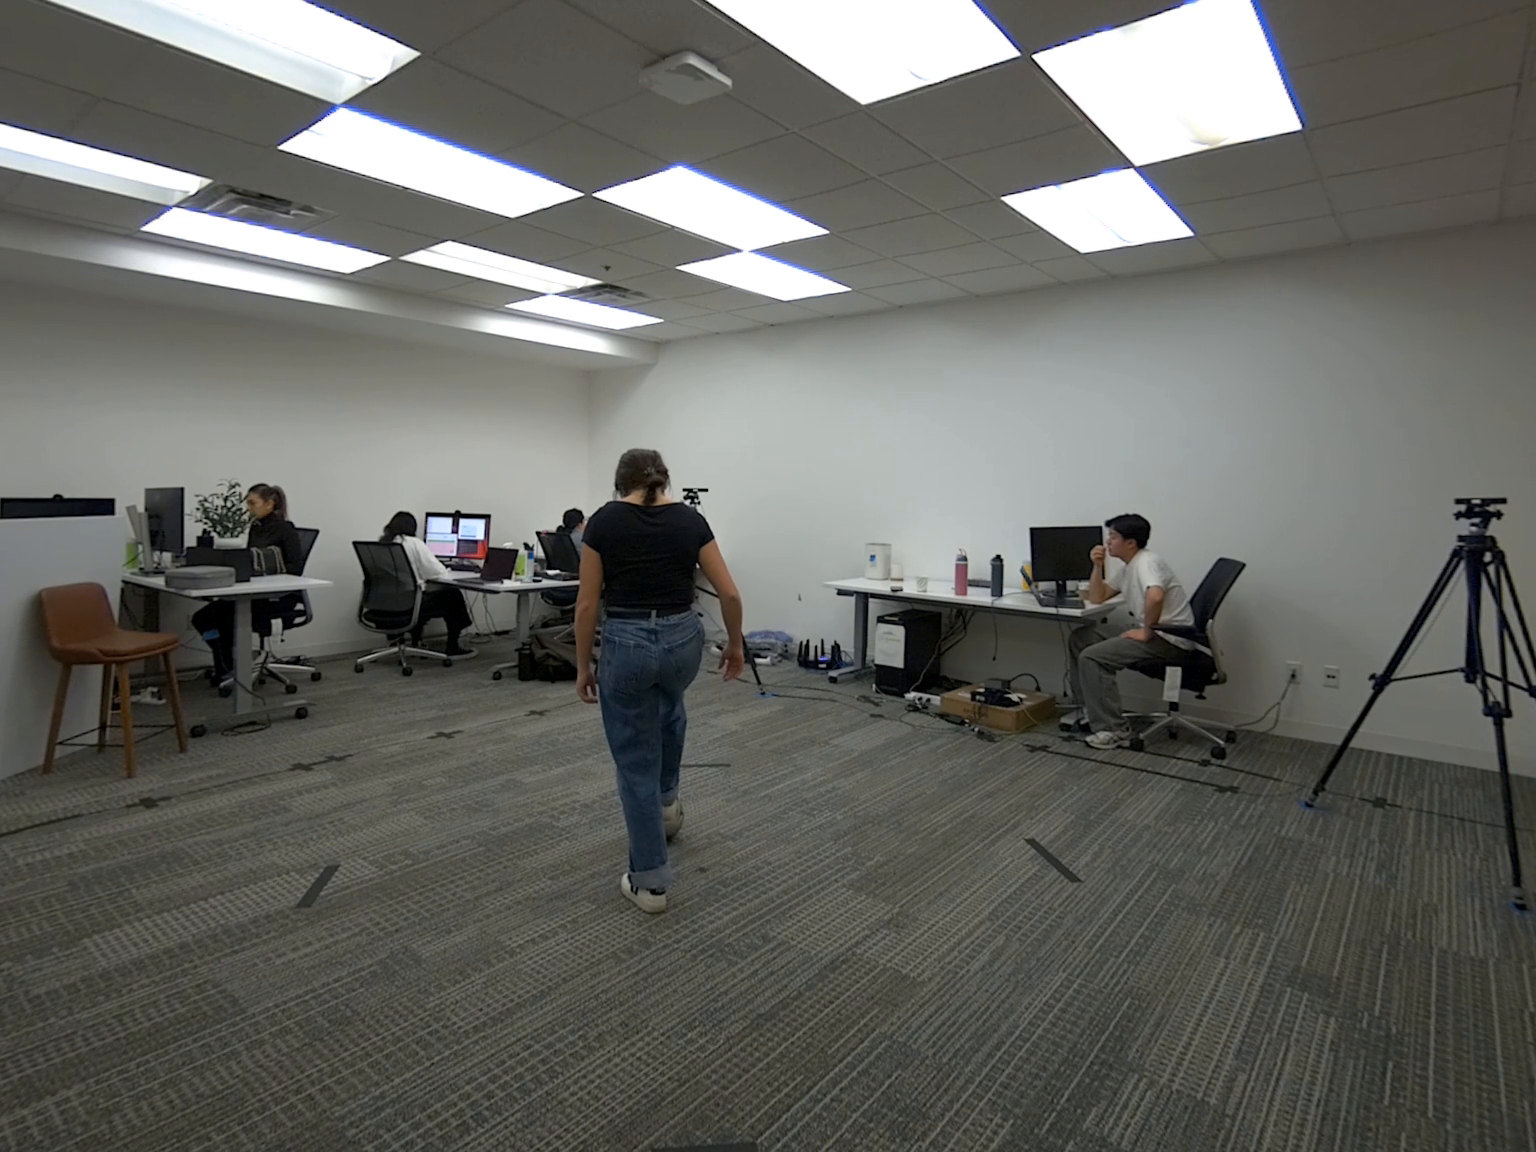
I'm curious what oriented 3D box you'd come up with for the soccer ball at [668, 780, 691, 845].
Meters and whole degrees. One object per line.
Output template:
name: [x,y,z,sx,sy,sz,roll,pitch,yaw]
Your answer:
soccer ball: [-0.413,0.942,3.376,0.187,0.187,0.188,1,4,-2]
